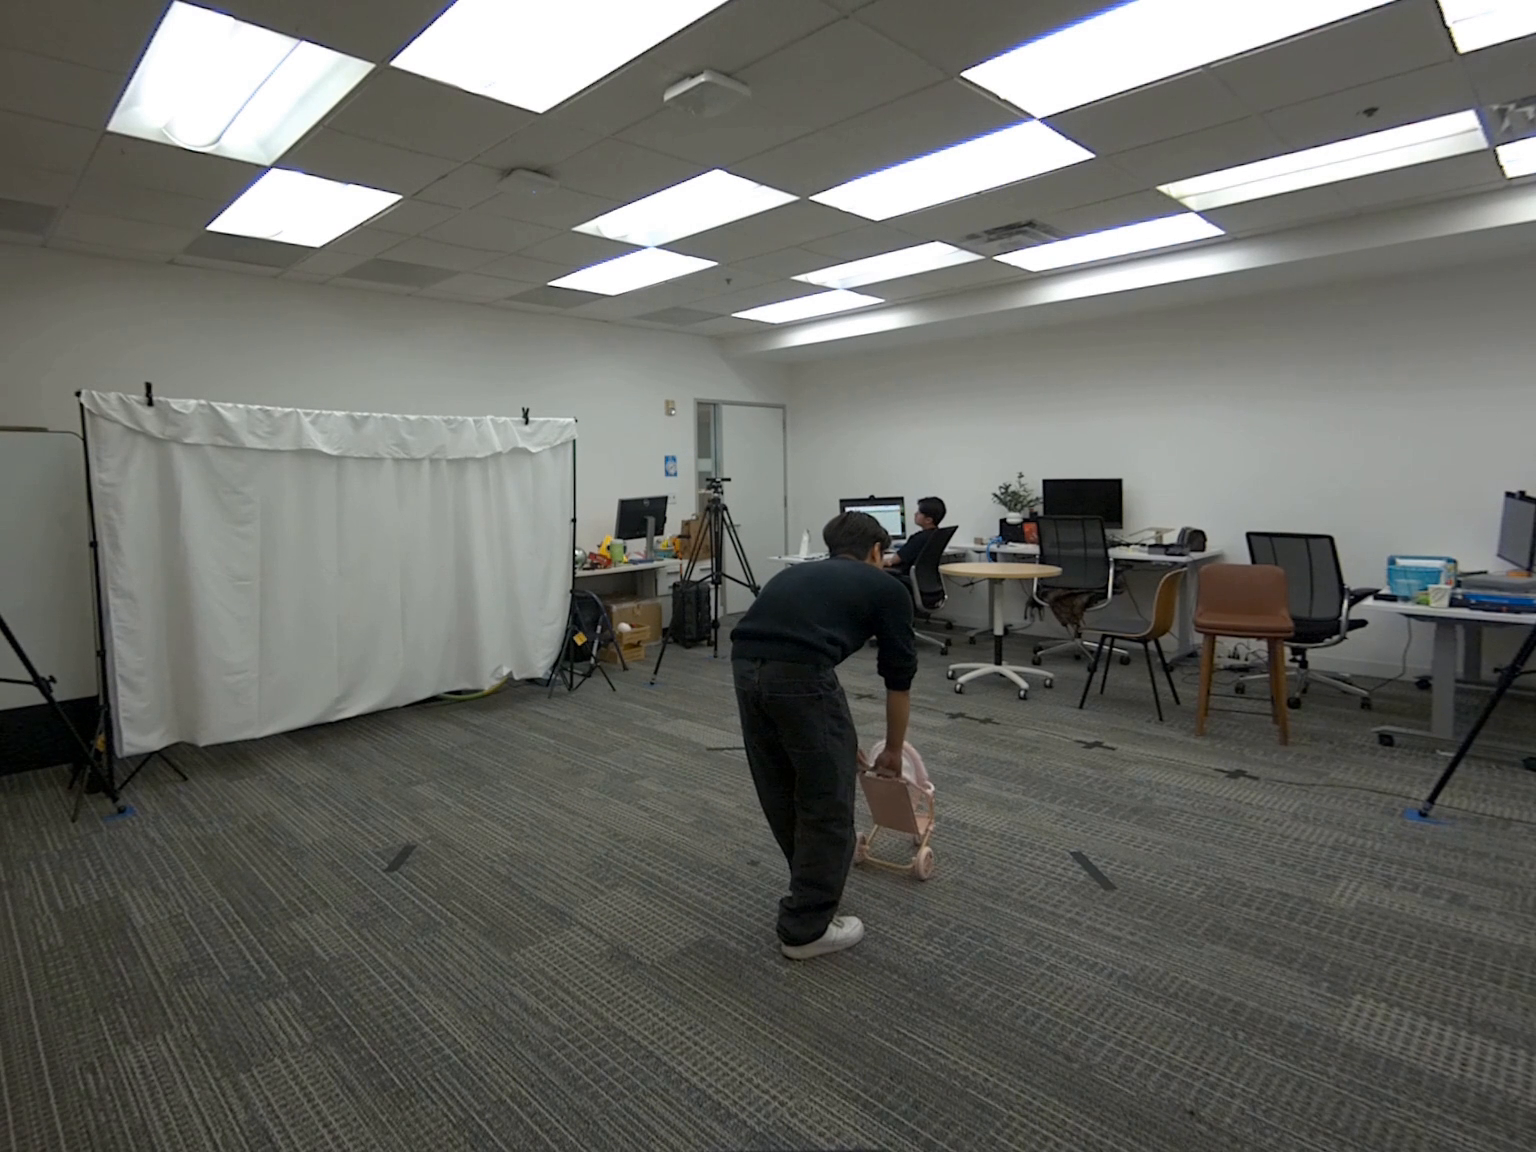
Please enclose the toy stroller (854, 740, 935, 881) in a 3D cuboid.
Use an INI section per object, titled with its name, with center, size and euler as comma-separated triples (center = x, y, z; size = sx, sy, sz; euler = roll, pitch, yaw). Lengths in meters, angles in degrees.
[toy stroller]
center = 0.469, 0.816, 3.065
size = 0.290, 0.526, 0.337
euler = 2, 21, 37
